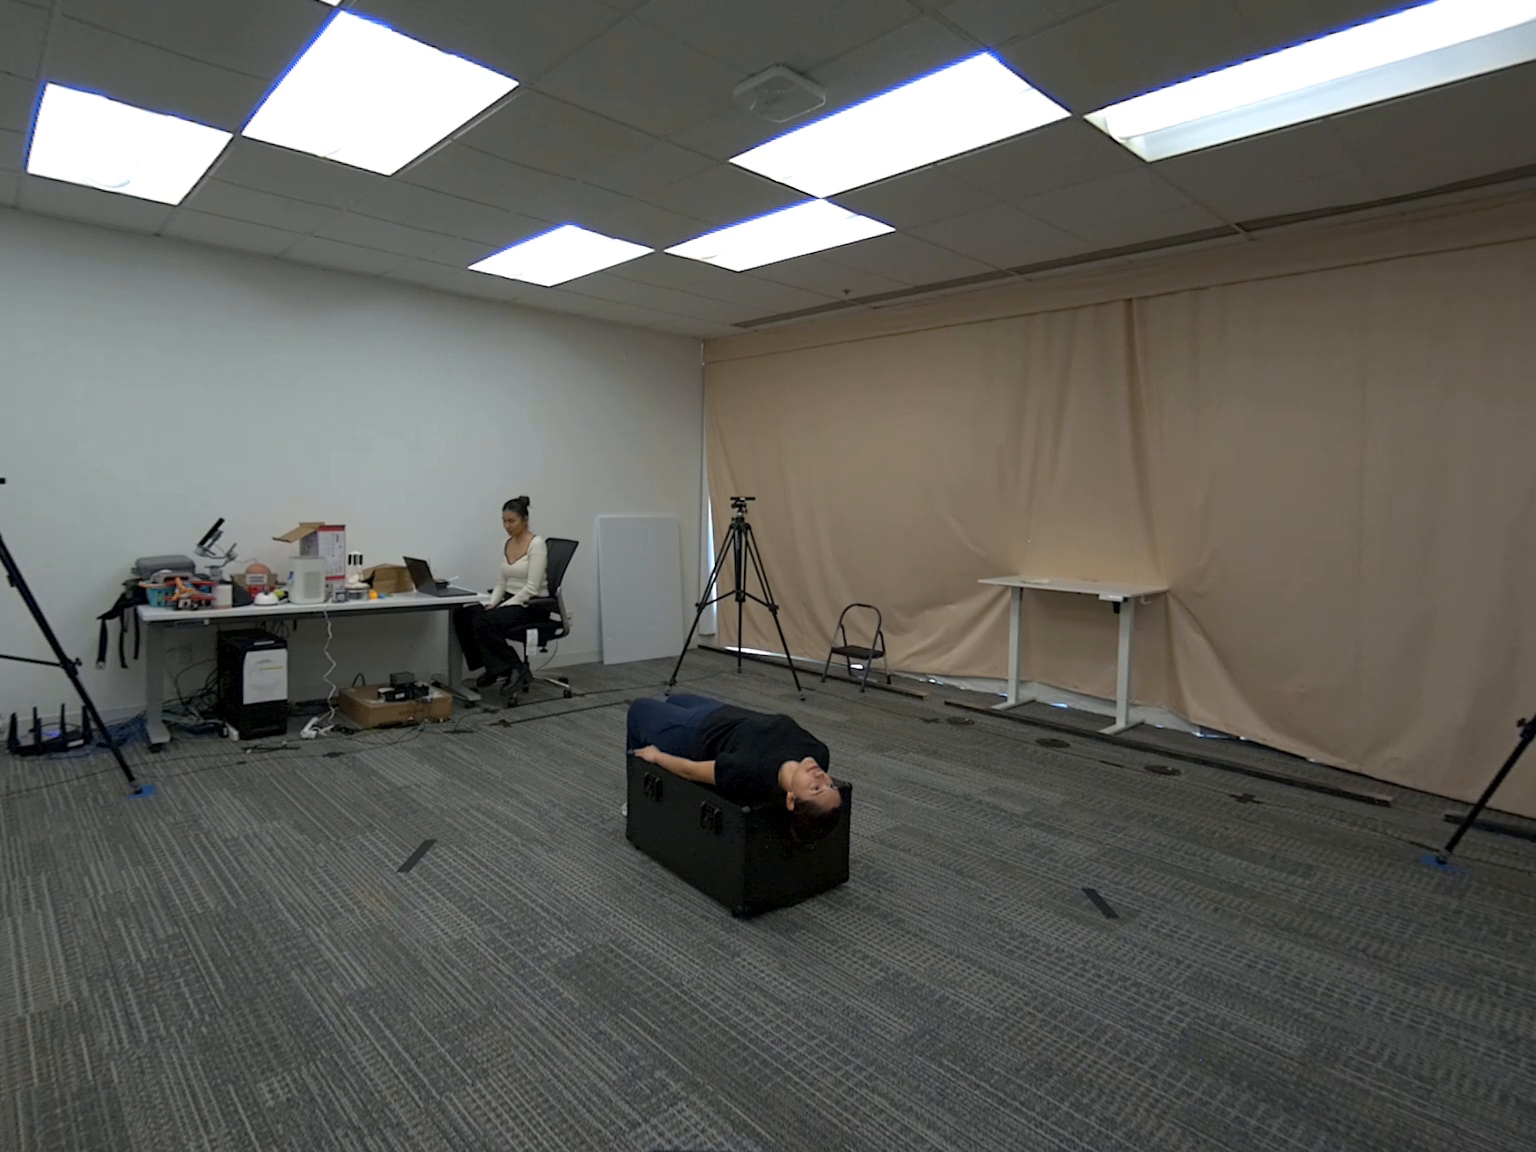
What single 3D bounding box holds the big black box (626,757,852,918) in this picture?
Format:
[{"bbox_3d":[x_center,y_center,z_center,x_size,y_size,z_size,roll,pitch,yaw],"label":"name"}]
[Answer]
[{"bbox_3d":[-0.123,0.926,3.152,0.510,0.395,0.882,-3,5,-38],"label":"big black box"}]
